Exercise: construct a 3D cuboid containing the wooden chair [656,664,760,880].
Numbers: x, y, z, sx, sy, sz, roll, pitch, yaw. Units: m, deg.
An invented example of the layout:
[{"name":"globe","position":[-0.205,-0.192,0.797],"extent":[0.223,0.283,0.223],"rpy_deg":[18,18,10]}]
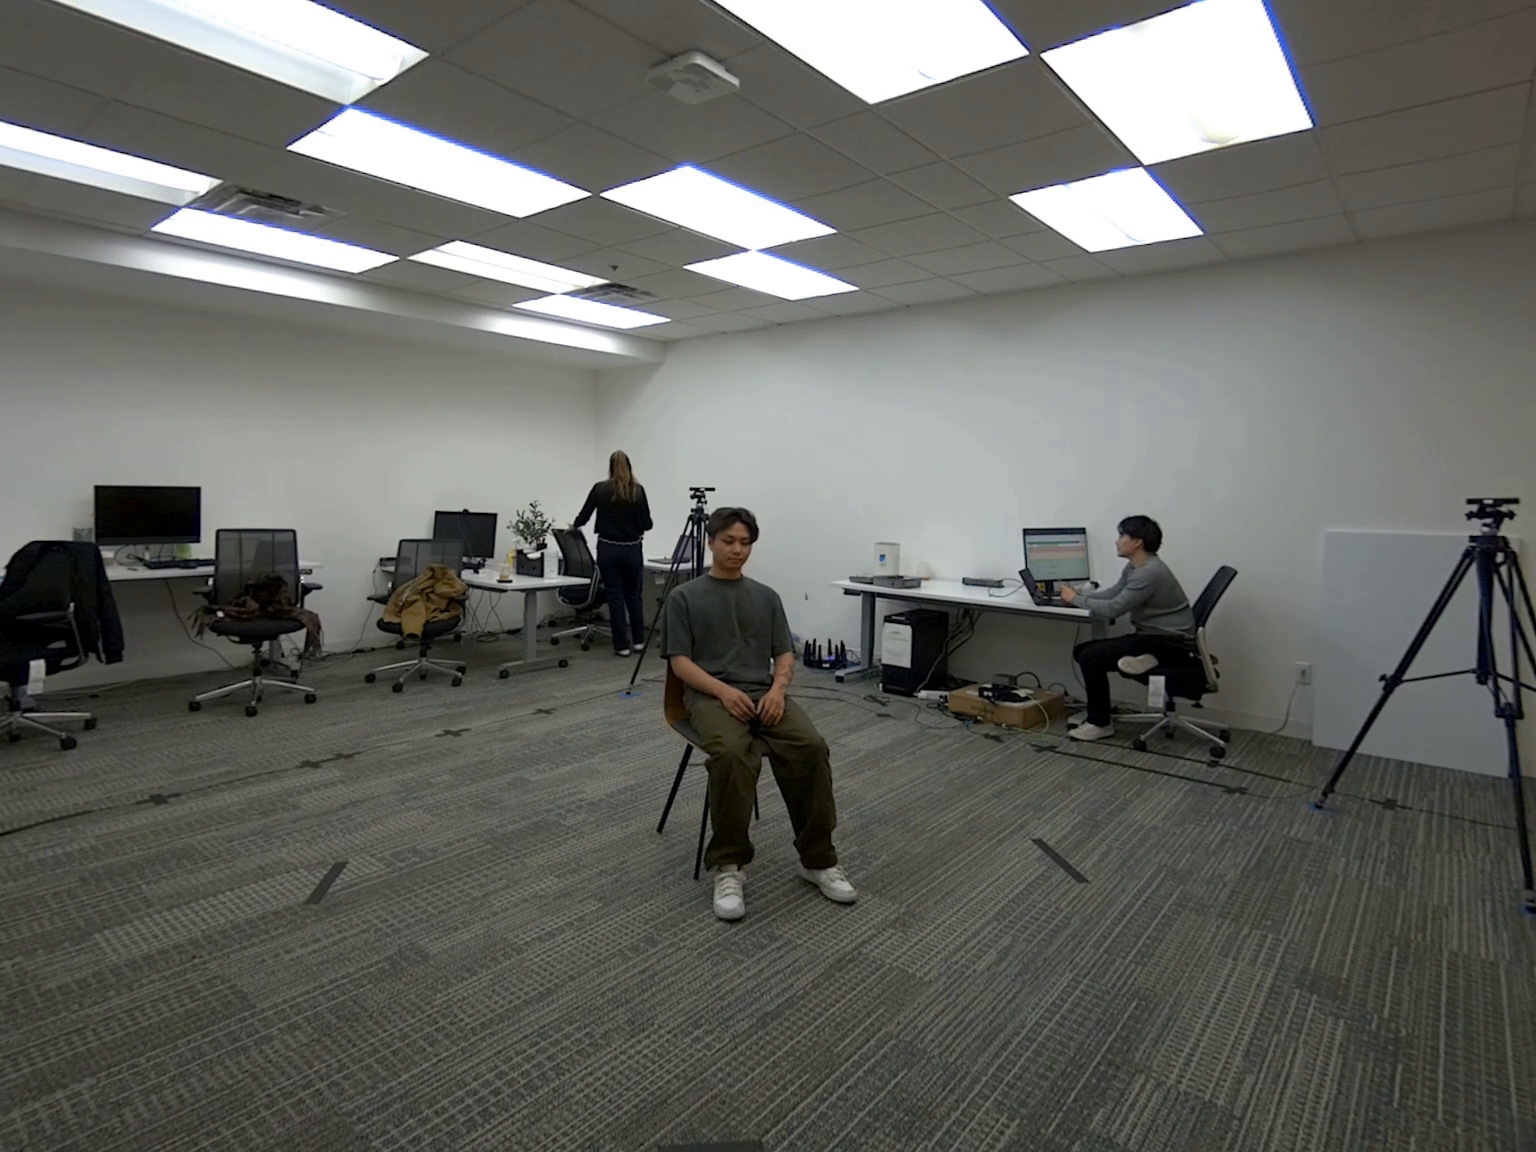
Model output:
[{"name":"wooden chair","position":[-0.145,0.619,3.279],"extent":[0.467,0.878,0.535],"rpy_deg":[1,-1,-24]}]
